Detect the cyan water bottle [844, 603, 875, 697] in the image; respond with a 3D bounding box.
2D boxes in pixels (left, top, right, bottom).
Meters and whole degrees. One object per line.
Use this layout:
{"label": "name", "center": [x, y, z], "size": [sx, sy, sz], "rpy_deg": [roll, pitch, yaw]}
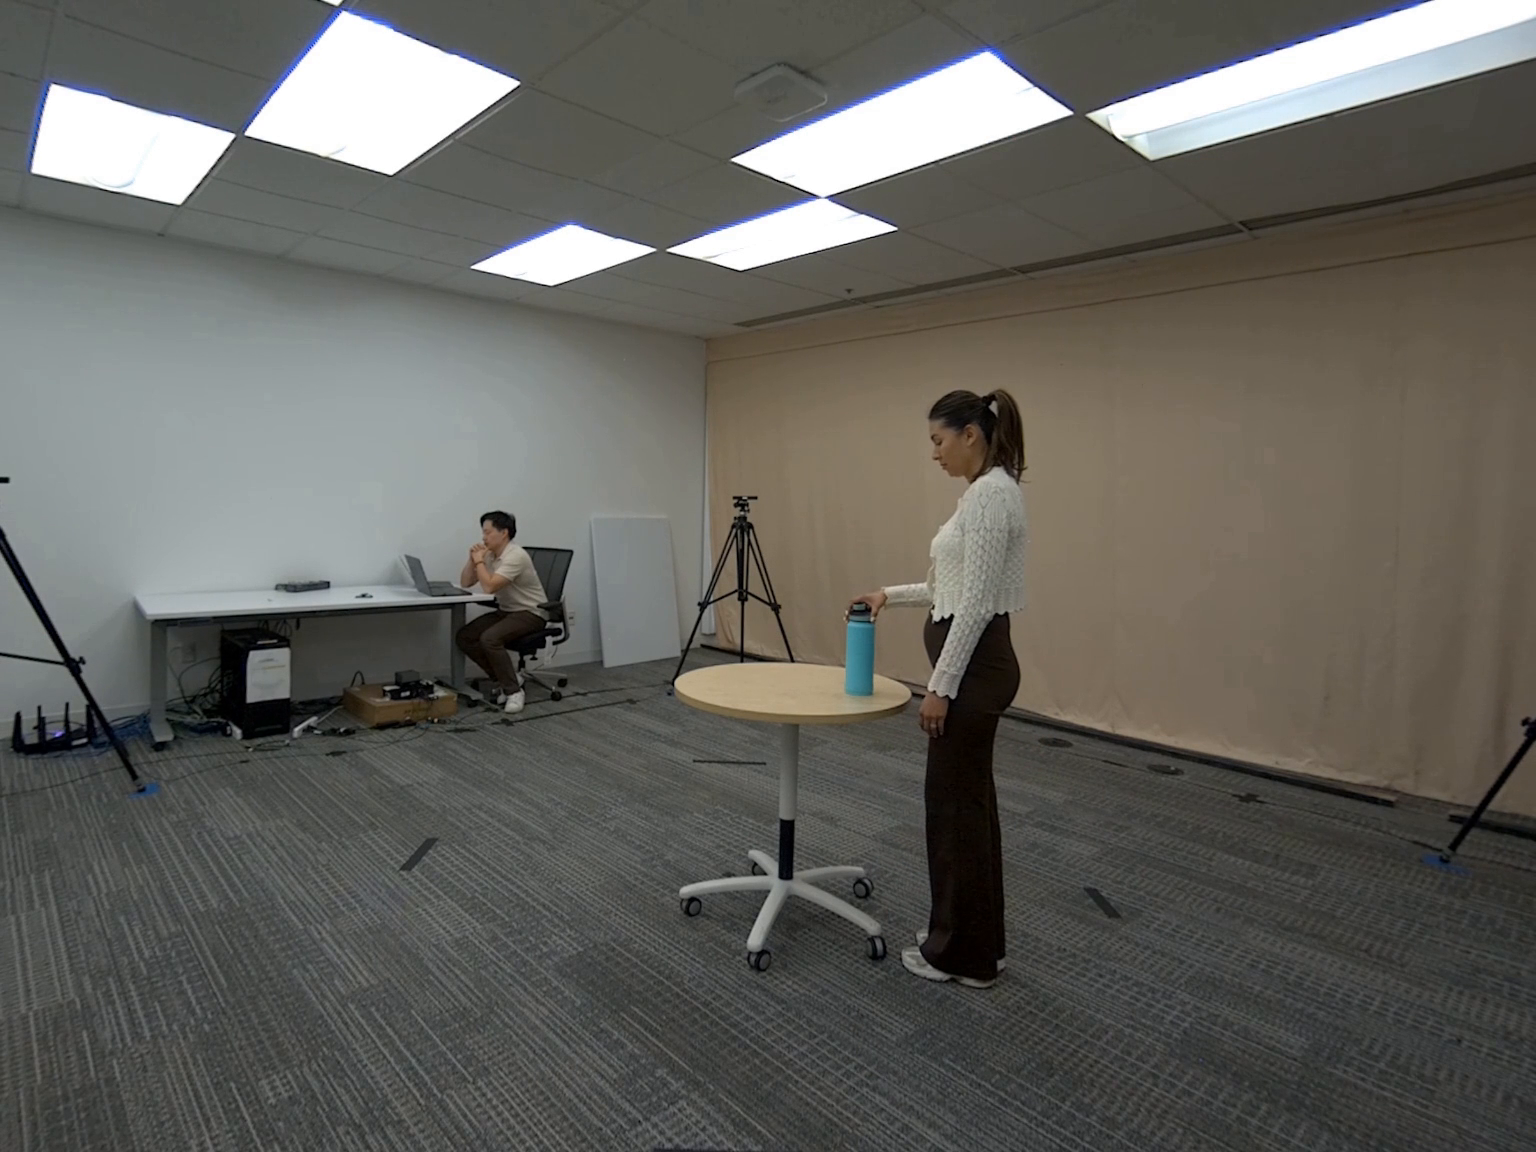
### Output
{"label": "cyan water bottle", "center": [0.298, 0.238, 2.656], "size": [0.092, 0.283, 0.092], "rpy_deg": [5, 3, -2]}
